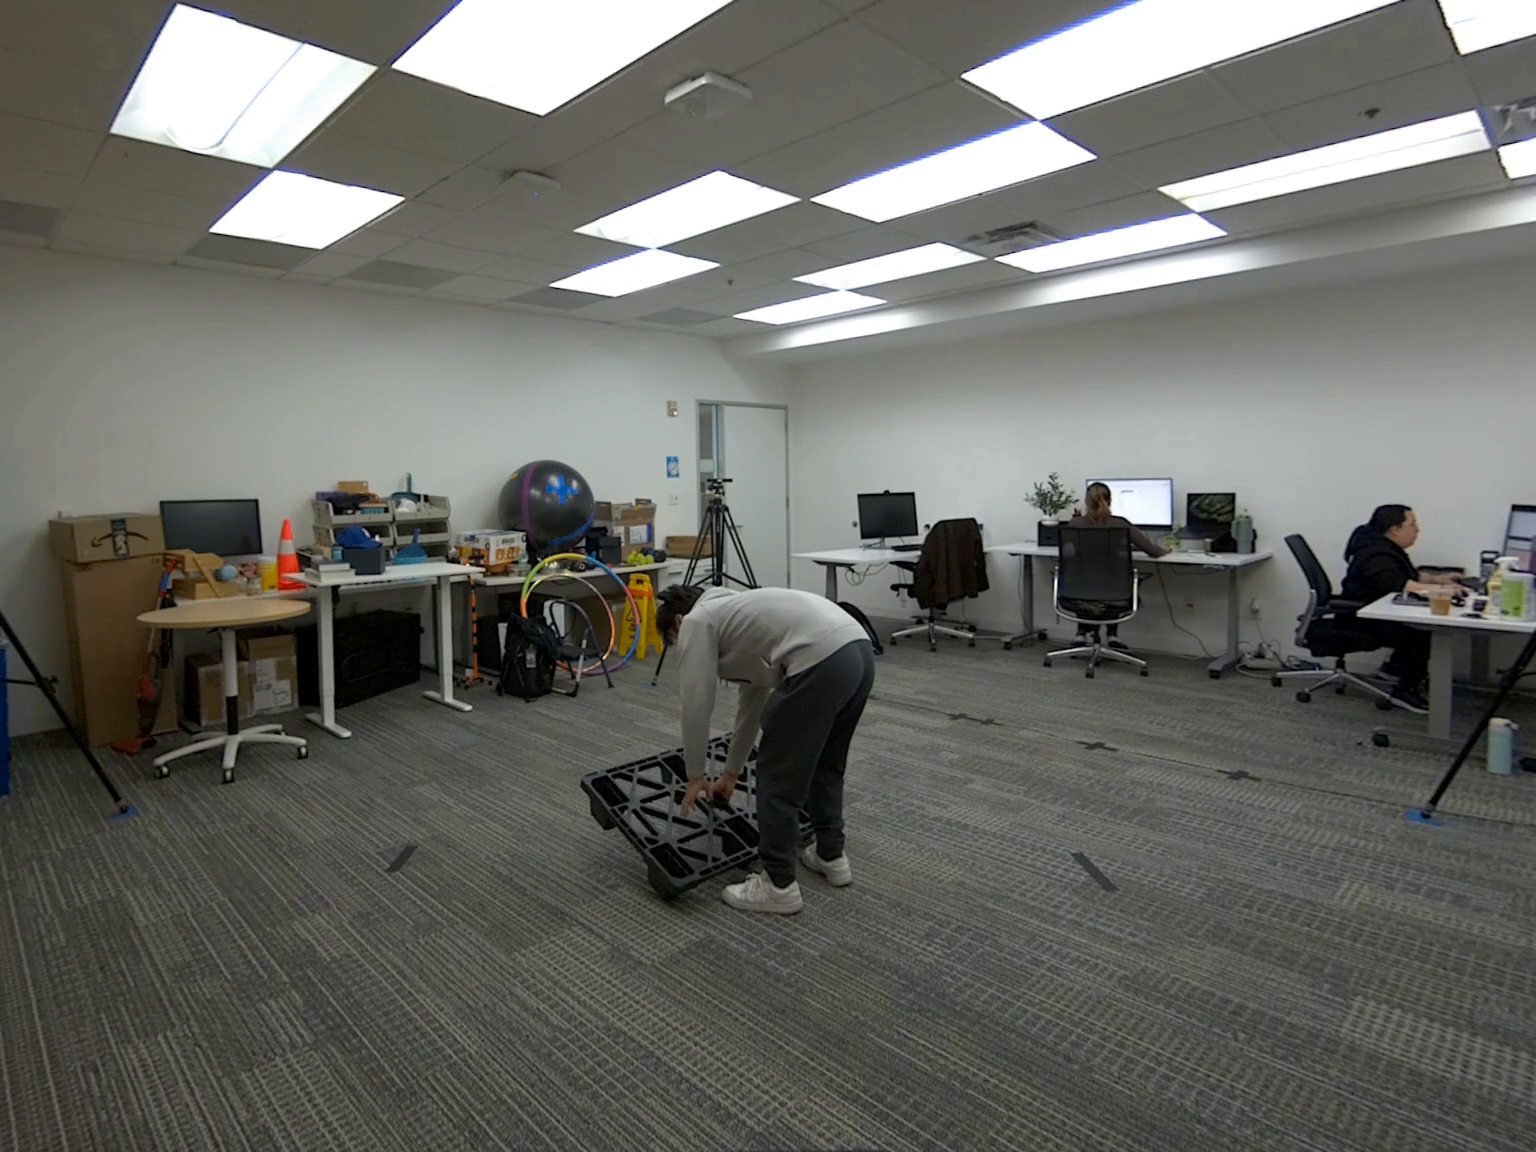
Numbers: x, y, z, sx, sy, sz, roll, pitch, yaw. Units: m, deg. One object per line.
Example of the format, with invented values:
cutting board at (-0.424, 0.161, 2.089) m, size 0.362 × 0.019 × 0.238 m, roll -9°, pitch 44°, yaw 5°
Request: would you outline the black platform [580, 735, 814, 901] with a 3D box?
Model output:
black platform at (-0.222, 0.893, 3.217) m, size 0.784 × 0.141 × 0.629 m, roll -7°, pitch 31°, yaw -43°
